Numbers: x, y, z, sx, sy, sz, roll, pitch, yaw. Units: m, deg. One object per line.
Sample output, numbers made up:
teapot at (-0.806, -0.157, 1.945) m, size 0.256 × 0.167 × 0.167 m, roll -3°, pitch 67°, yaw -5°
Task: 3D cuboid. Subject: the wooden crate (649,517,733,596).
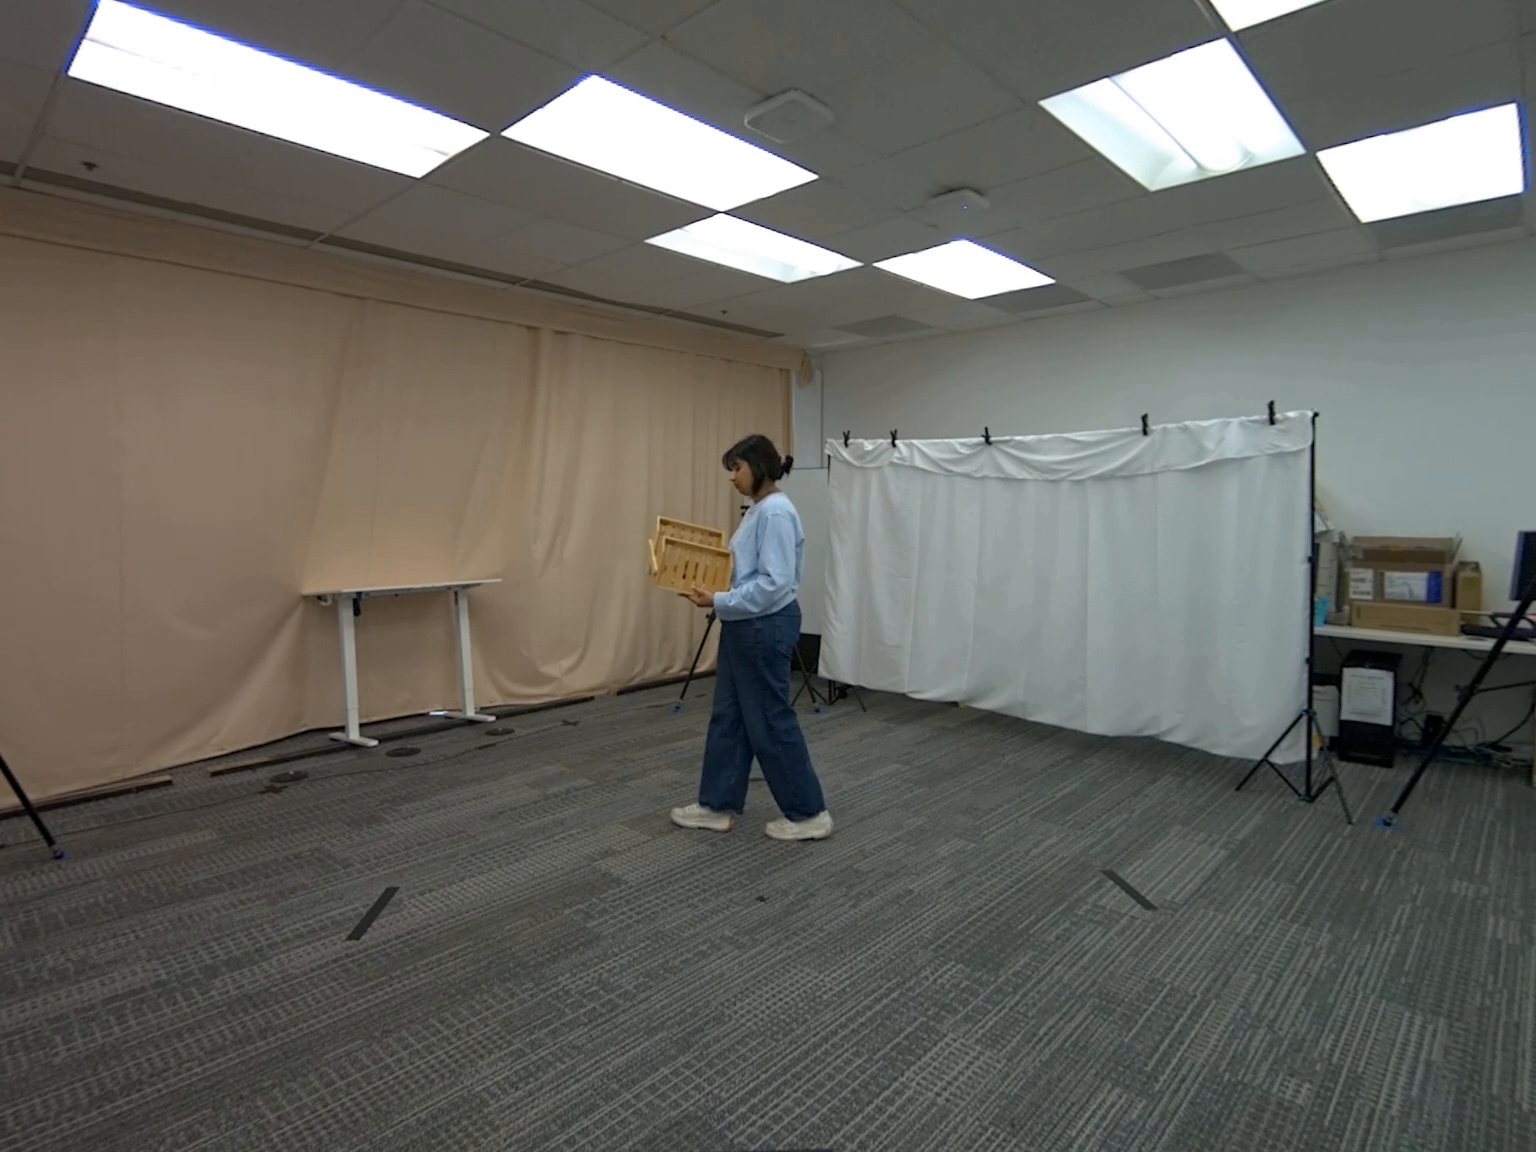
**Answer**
wooden crate at (-0.320, -0.074, 3.481) m, size 0.318 × 0.302 × 0.278 m, roll 13°, pitch -5°, yaw -17°
